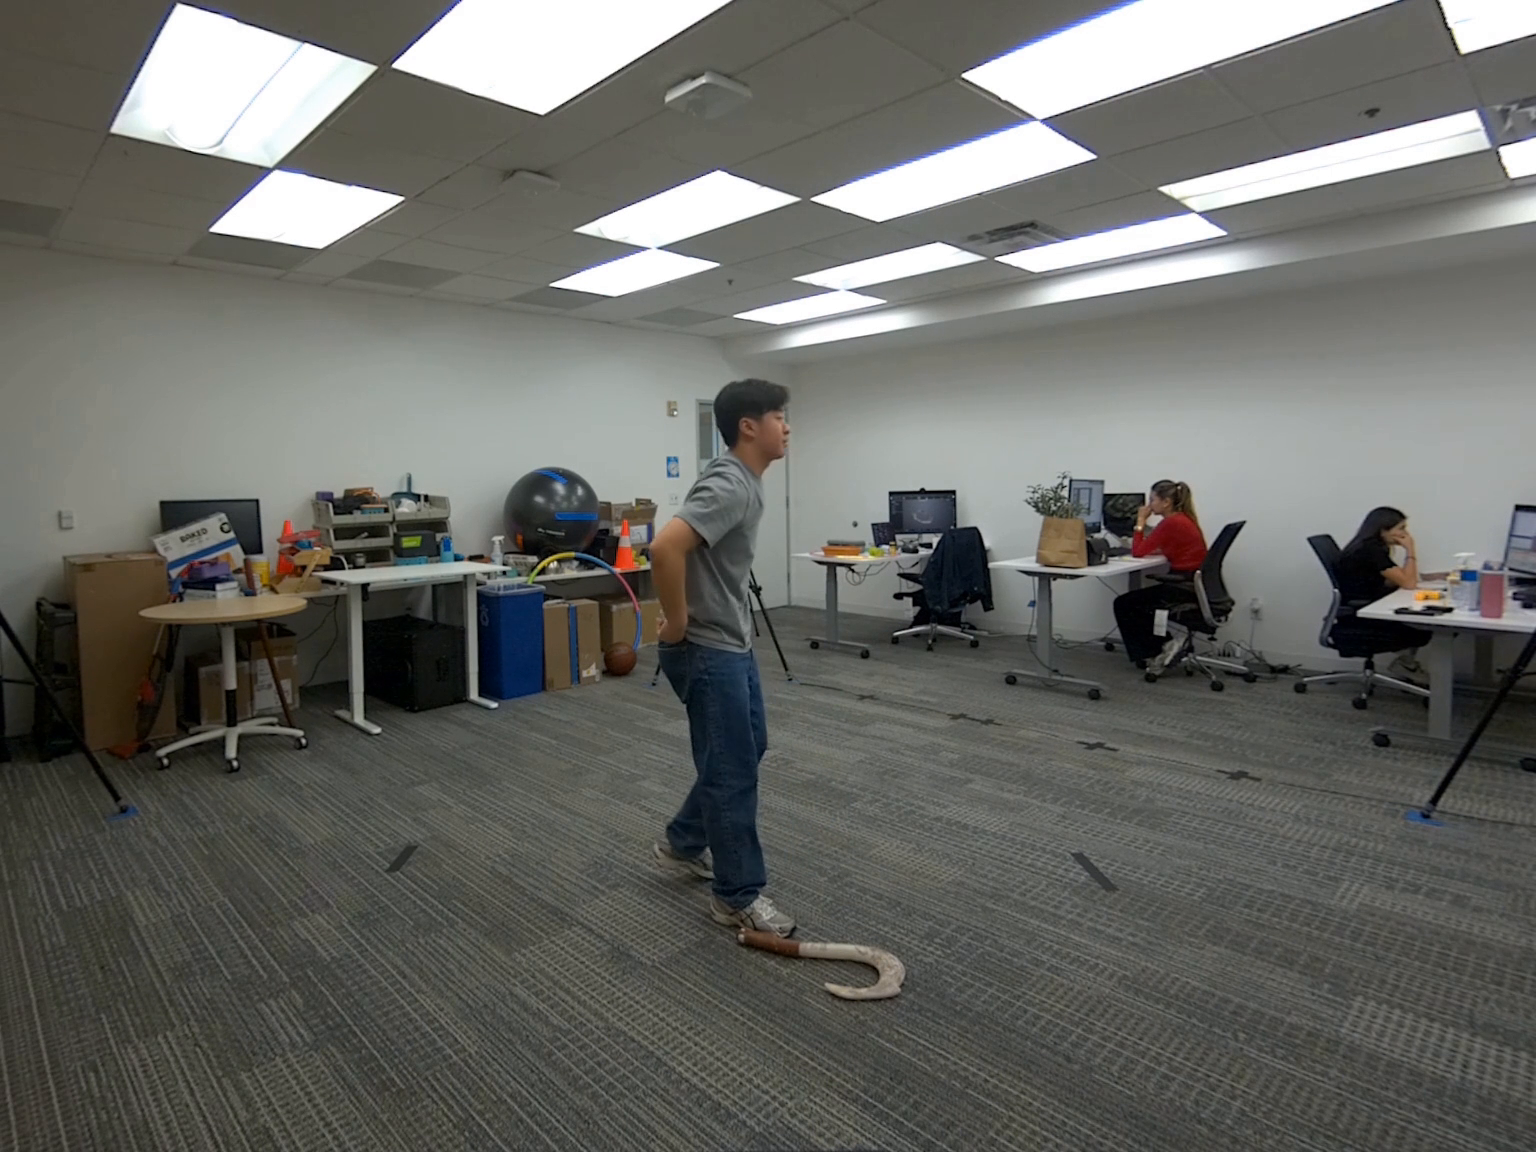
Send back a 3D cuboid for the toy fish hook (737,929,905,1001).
[{"bbox_3d":[0.135,1.099,2.427,0.517,0.048,0.221,1,6,22],"label":"toy fish hook"}]
